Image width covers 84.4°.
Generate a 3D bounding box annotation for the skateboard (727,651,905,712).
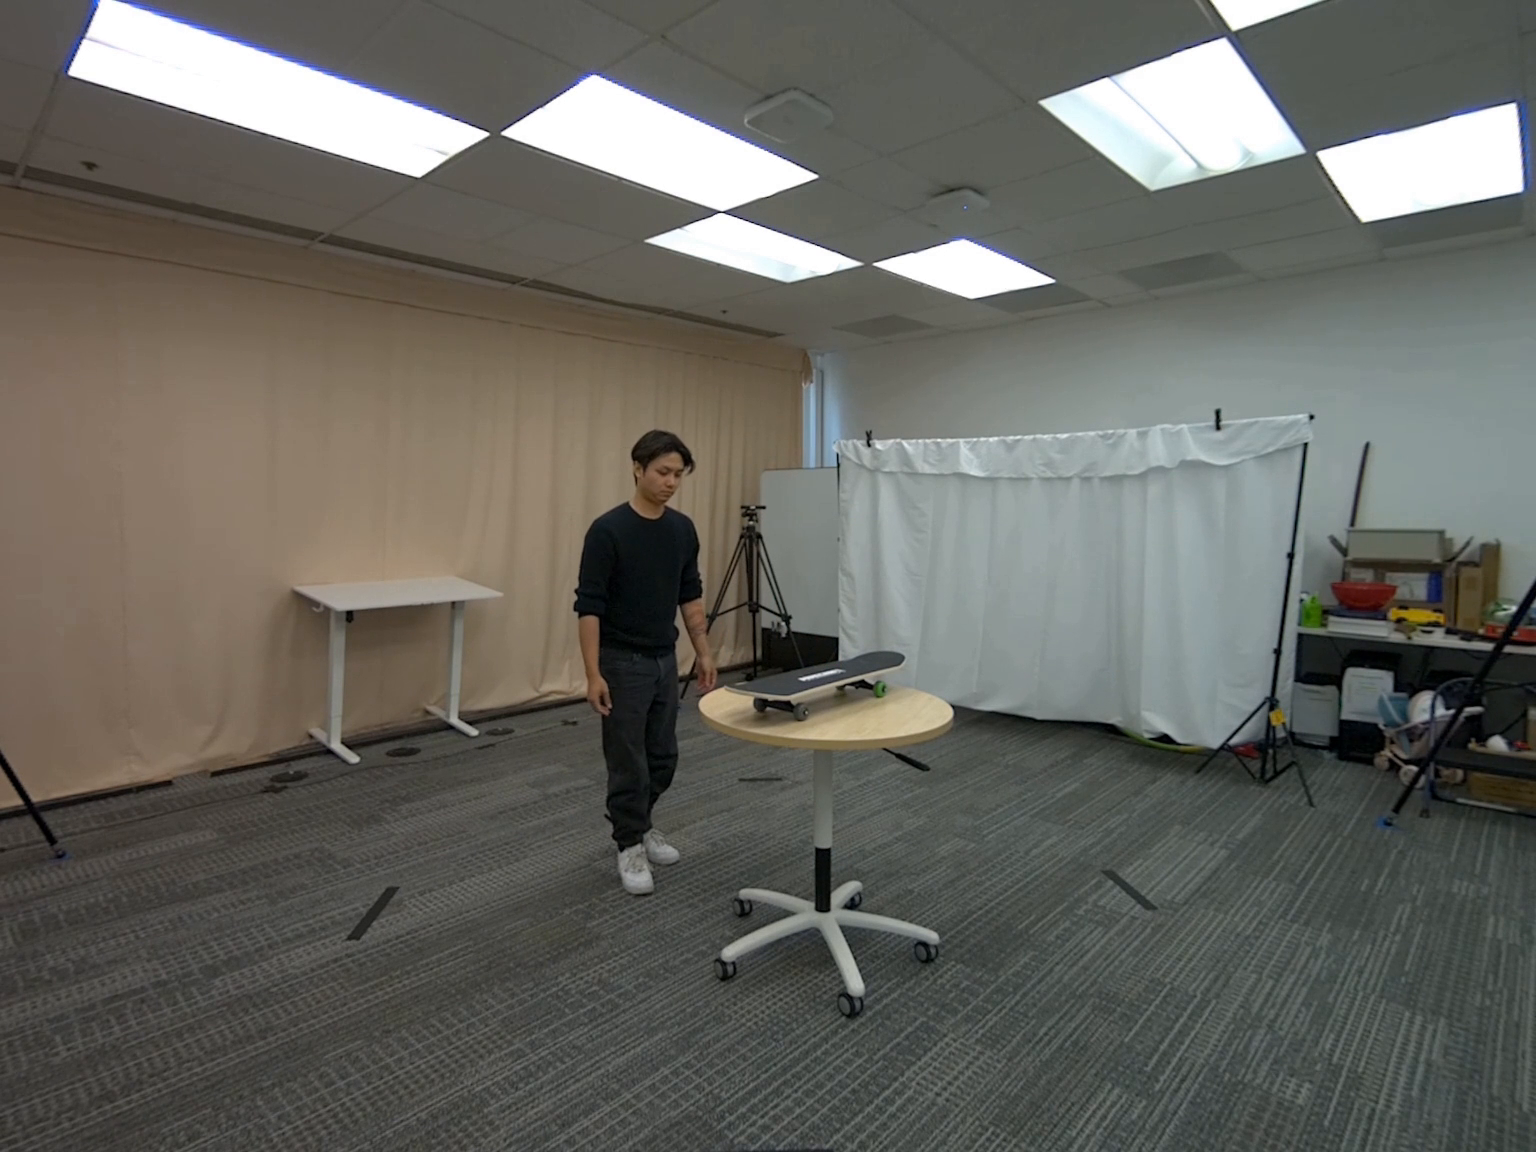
[{"bbox_3d":[0.153,0.344,2.574,0.200,0.110,0.762,5,7,42],"label":"skateboard"}]
